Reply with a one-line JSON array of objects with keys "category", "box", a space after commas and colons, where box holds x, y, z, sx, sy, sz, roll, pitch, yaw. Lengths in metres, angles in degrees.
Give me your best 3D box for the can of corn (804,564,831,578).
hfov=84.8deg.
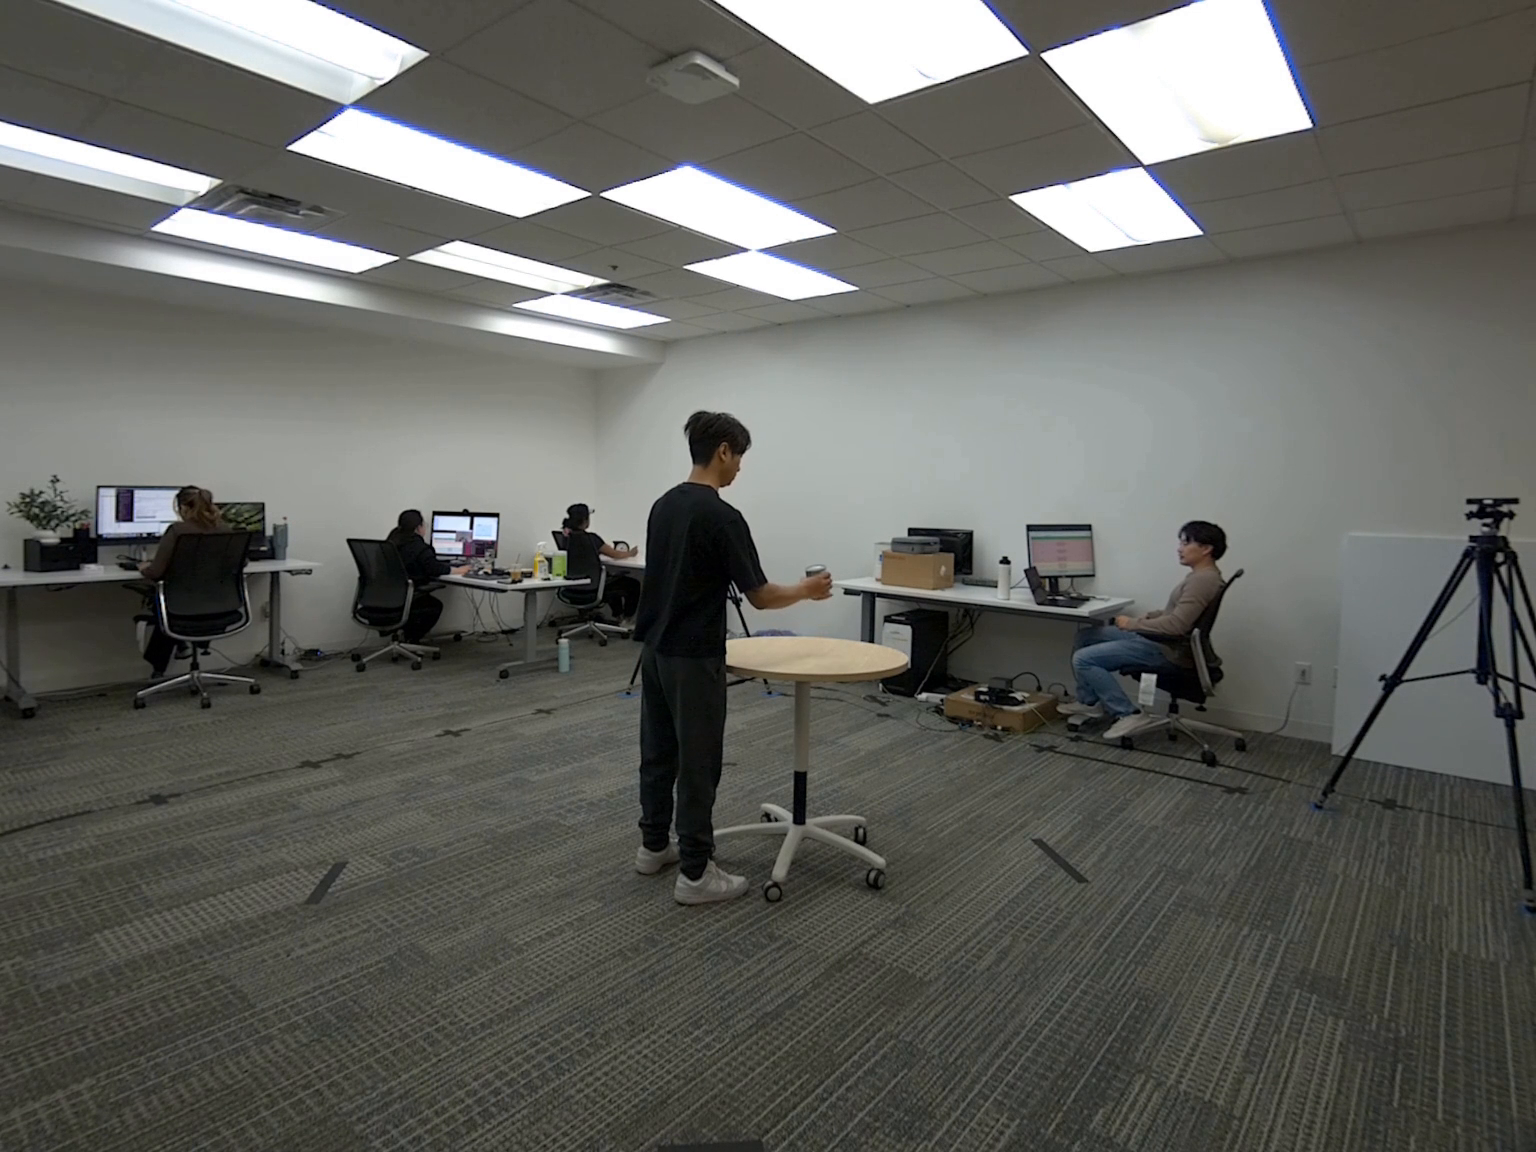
[{"category": "can of corn", "box": [0.174, 0.036, 3.066, 0.074, 0.110, 0.075, -8, 10, 0]}]
